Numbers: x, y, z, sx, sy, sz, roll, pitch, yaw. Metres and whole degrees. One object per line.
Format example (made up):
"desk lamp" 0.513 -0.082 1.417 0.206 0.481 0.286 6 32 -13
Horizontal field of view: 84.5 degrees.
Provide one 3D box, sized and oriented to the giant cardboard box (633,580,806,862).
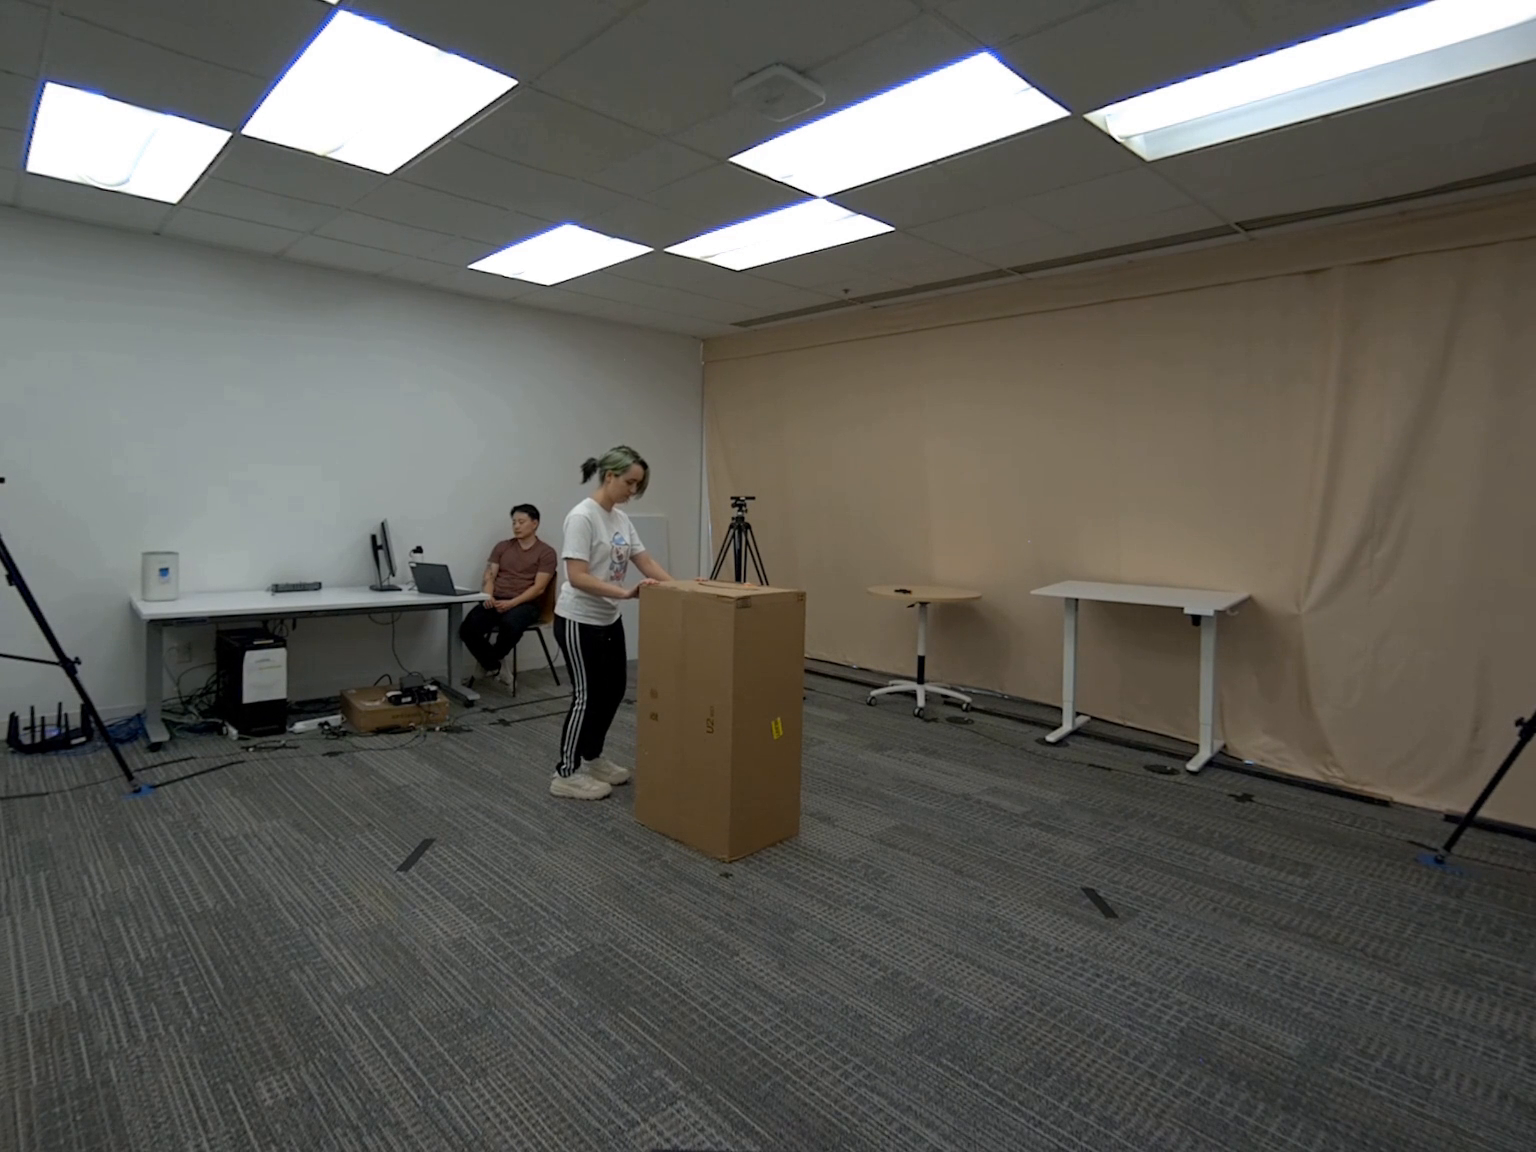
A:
"giant cardboard box" -0.212 0.558 3.529 0.599 1.024 0.436 4 4 43
